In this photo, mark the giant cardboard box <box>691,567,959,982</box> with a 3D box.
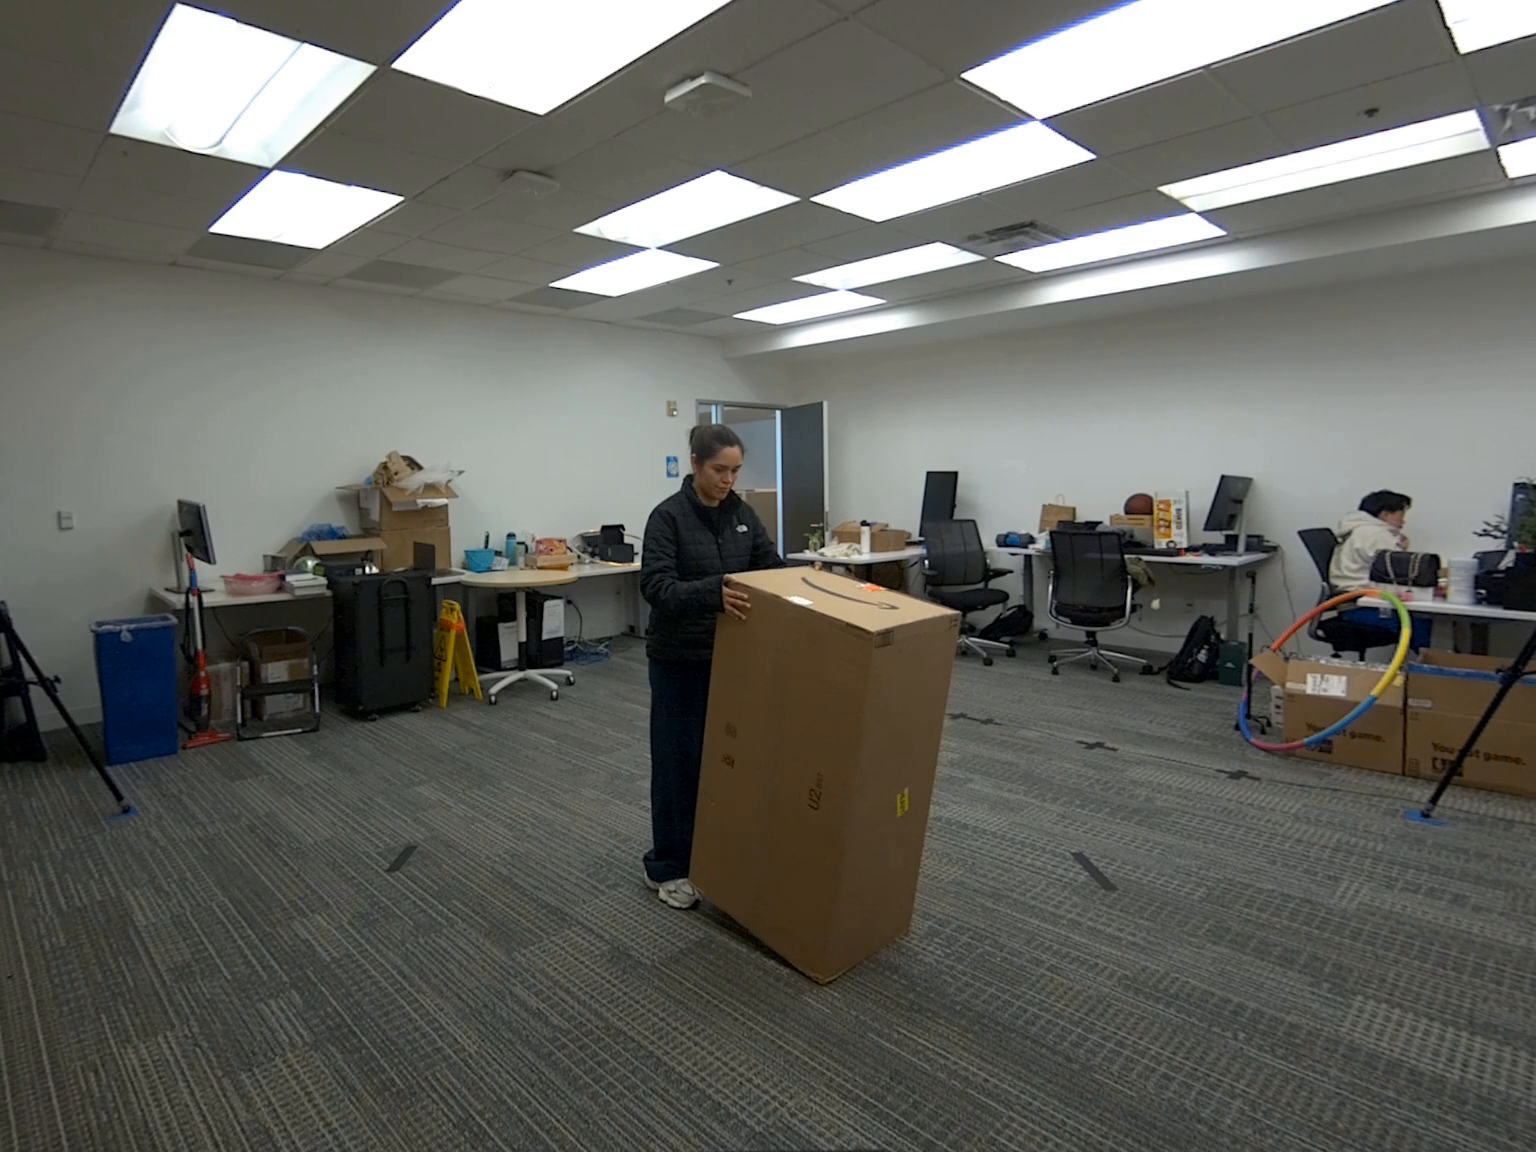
[{"bbox_3d":[0.156,0.551,2.603,0.415,1.017,0.598,-4,16,-45],"label":"giant cardboard box"}]
